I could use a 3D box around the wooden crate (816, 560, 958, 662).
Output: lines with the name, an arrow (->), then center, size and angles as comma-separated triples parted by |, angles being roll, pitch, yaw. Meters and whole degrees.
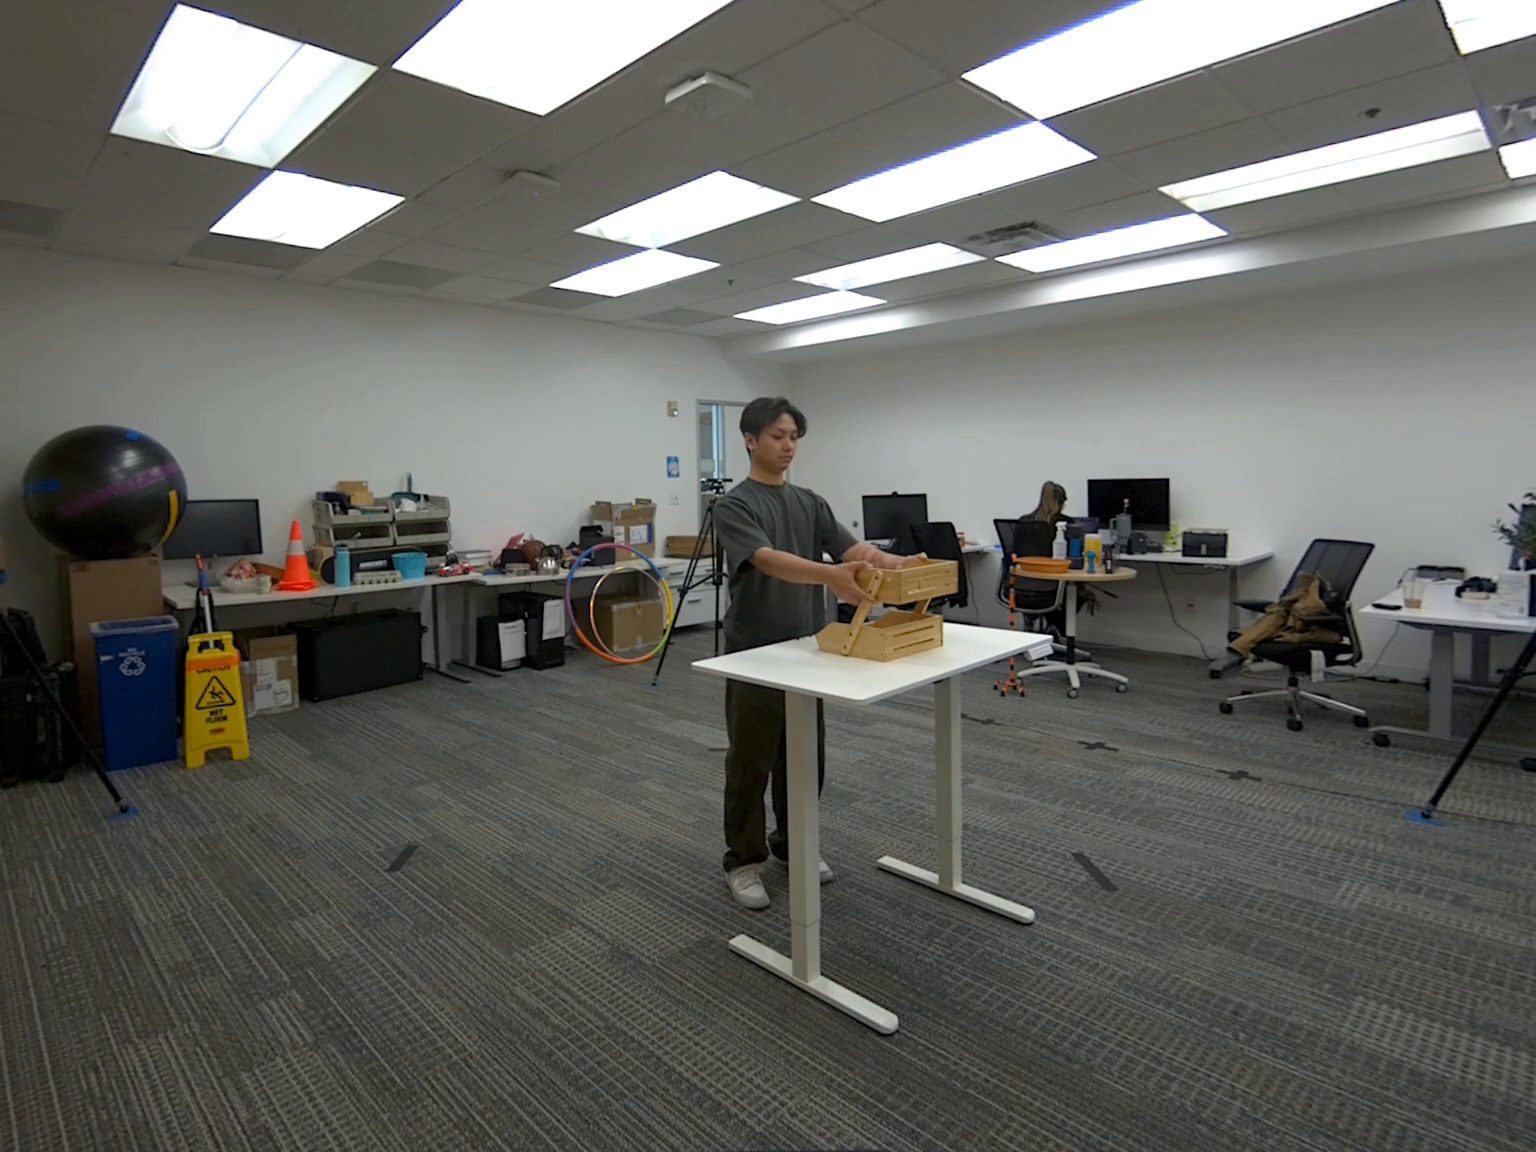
wooden crate -> 0.361, 0.089, 2.537 | 0.311, 0.272, 0.316 | 5, 9, 44
